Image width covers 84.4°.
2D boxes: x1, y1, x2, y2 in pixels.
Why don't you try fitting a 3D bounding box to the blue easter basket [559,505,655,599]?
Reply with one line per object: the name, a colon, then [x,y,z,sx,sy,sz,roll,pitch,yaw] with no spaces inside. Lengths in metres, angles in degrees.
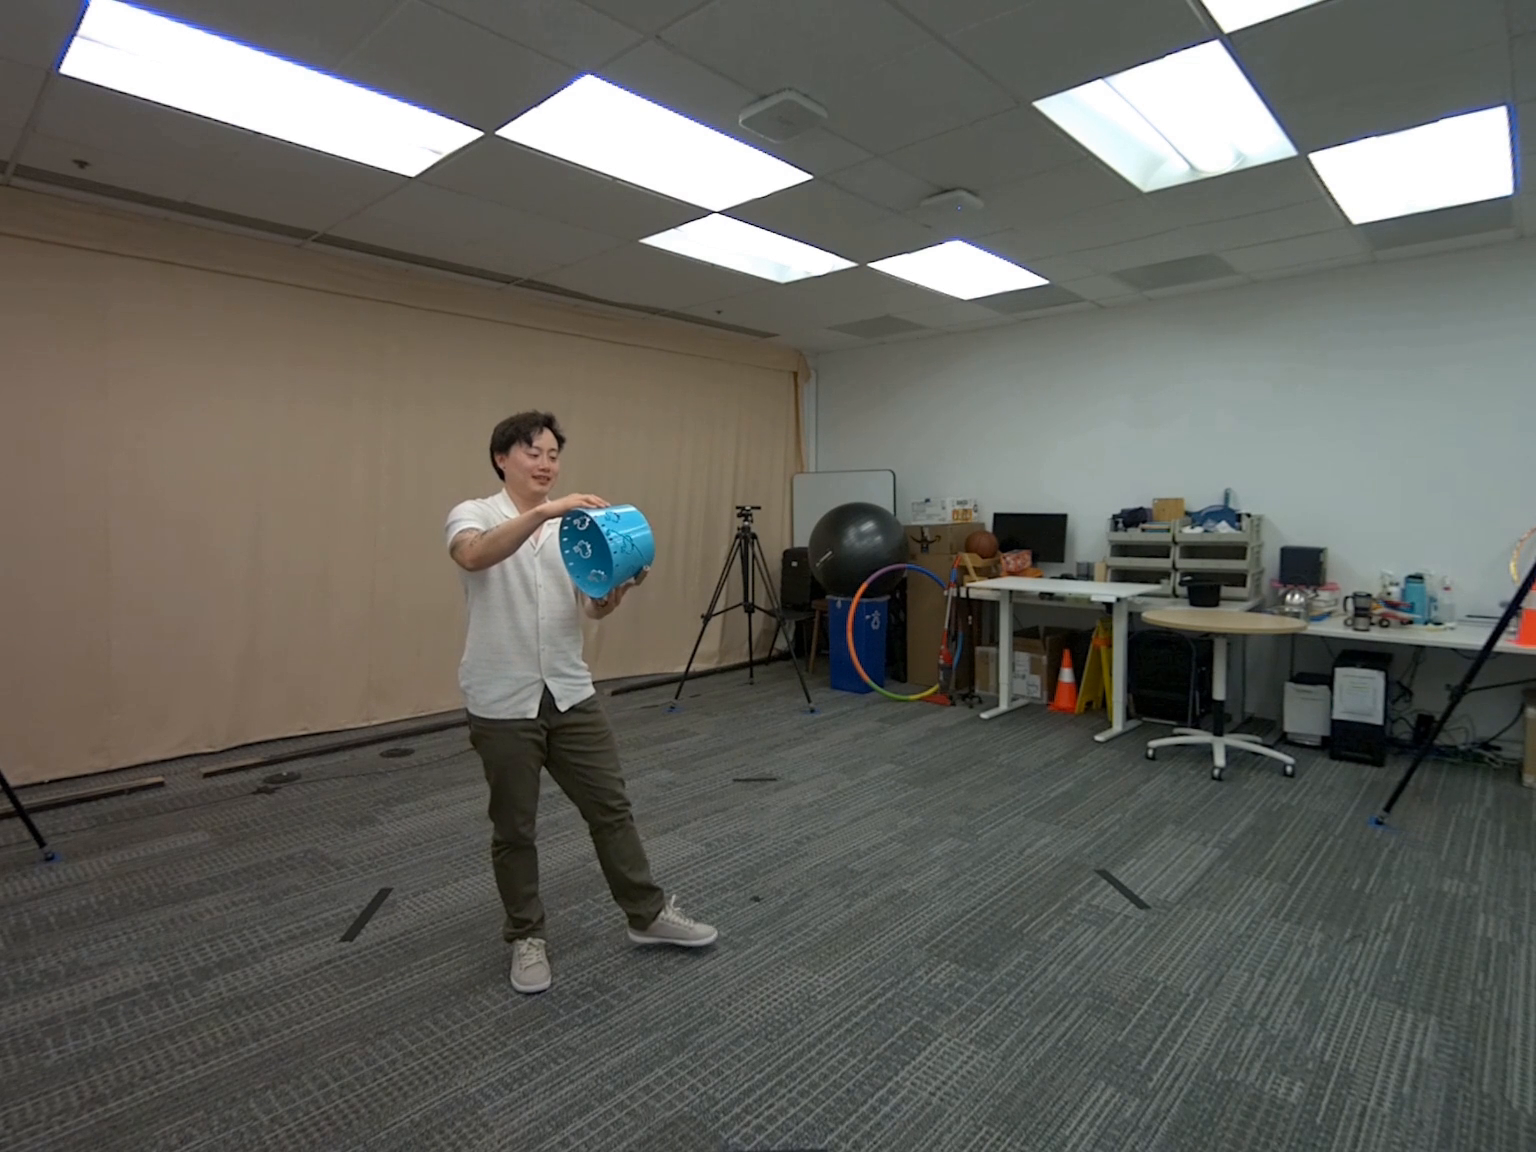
blue easter basket: [-0.403,-0.071,2.149,0.152,0.241,0.252,-21,17,-41]
